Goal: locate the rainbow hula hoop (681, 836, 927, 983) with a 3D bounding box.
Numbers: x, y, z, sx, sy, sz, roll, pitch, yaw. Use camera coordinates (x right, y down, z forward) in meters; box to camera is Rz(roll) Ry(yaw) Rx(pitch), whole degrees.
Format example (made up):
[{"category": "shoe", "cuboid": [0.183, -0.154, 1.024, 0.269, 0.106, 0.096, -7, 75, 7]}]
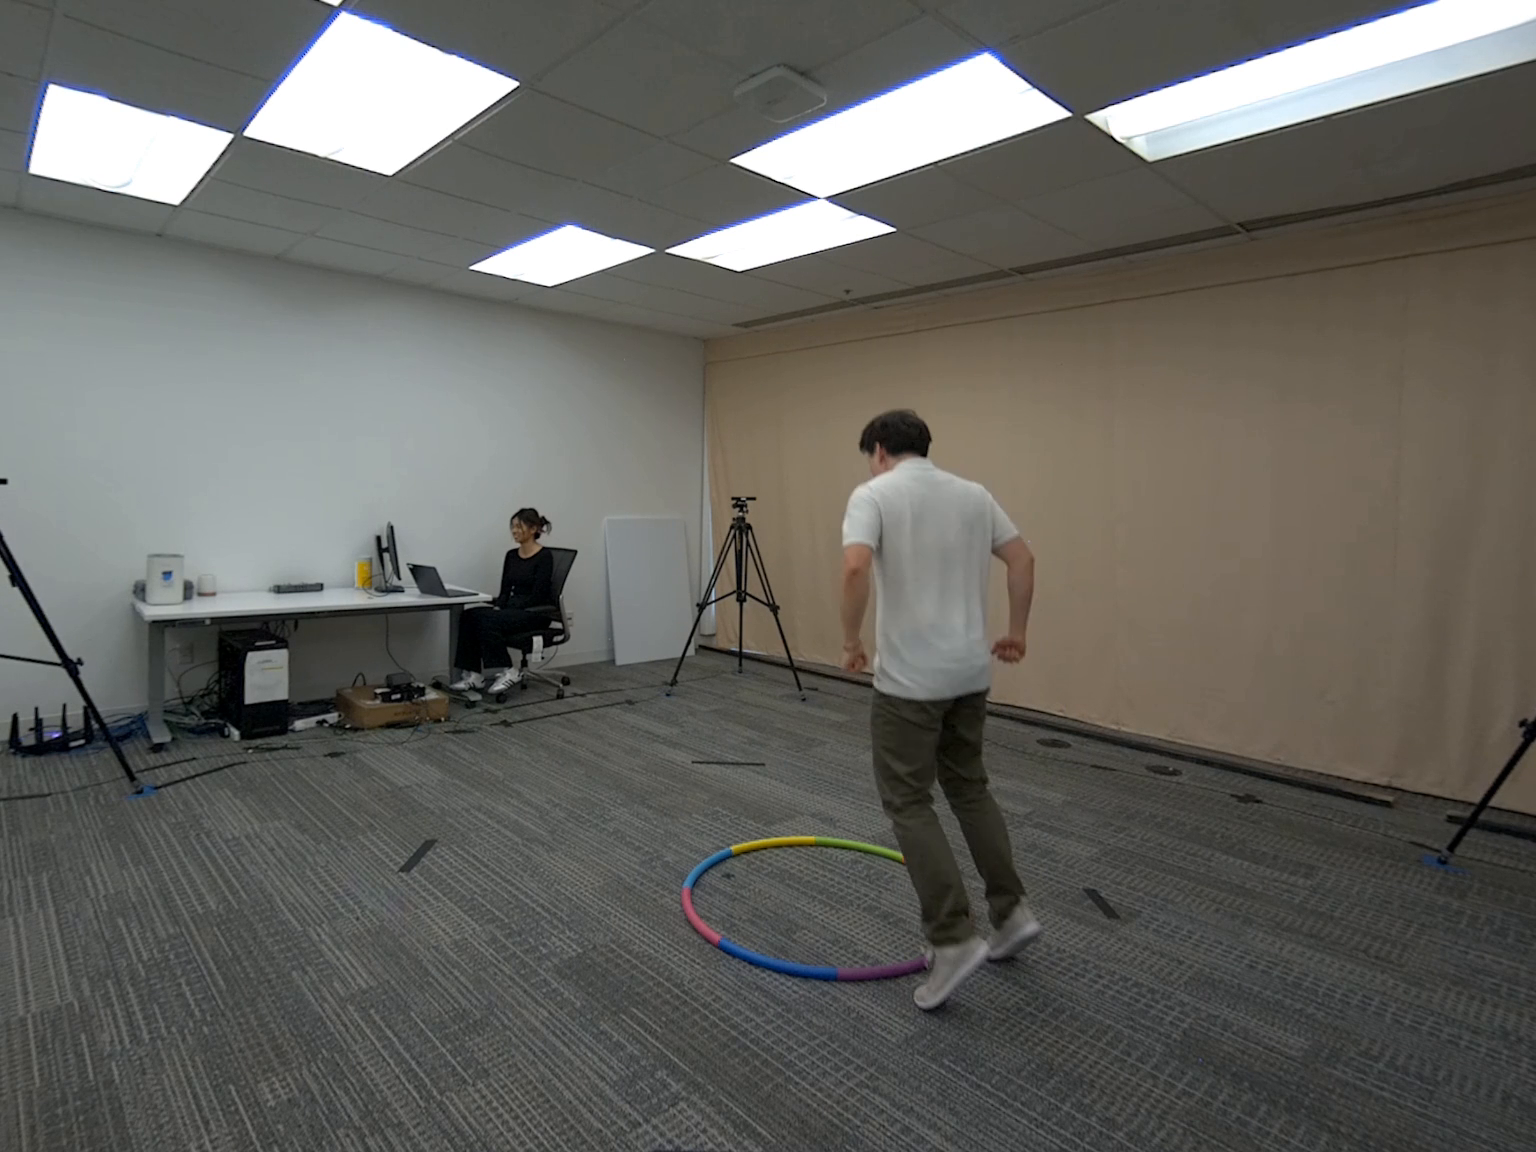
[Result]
[{"category": "rainbow hula hoop", "cuboid": [0.185, 1.103, 2.926, 0.978, 0.035, 0.982, 1, 5, -1]}]
